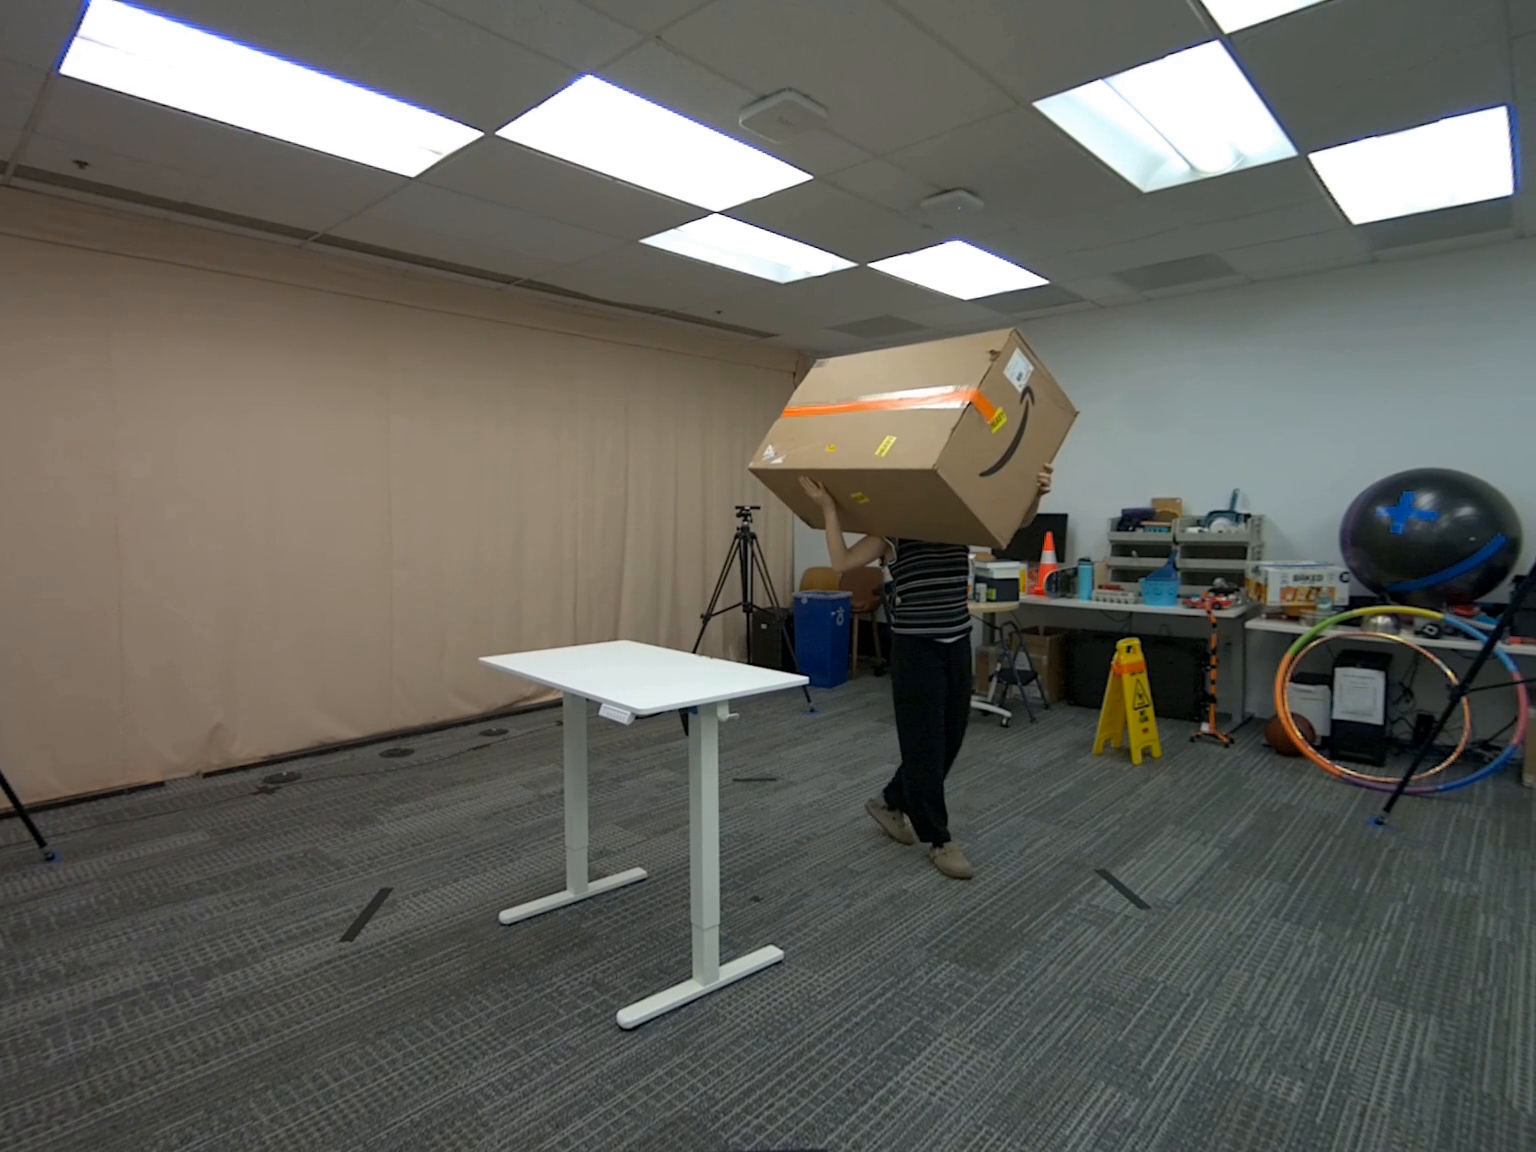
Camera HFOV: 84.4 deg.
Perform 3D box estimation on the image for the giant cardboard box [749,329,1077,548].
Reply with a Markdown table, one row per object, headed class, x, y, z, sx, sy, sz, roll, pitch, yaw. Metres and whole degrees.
| class | x | y | z | sx | sy | sz | roll | pitch | yaw |
| --- | --- | --- | --- | --- | --- | --- | --- | --- | --- |
| giant cardboard box | 0.484 | -0.490 | 3.125 | 0.413 | 0.577 | 1.059 | 40 | -16 | -31 |
